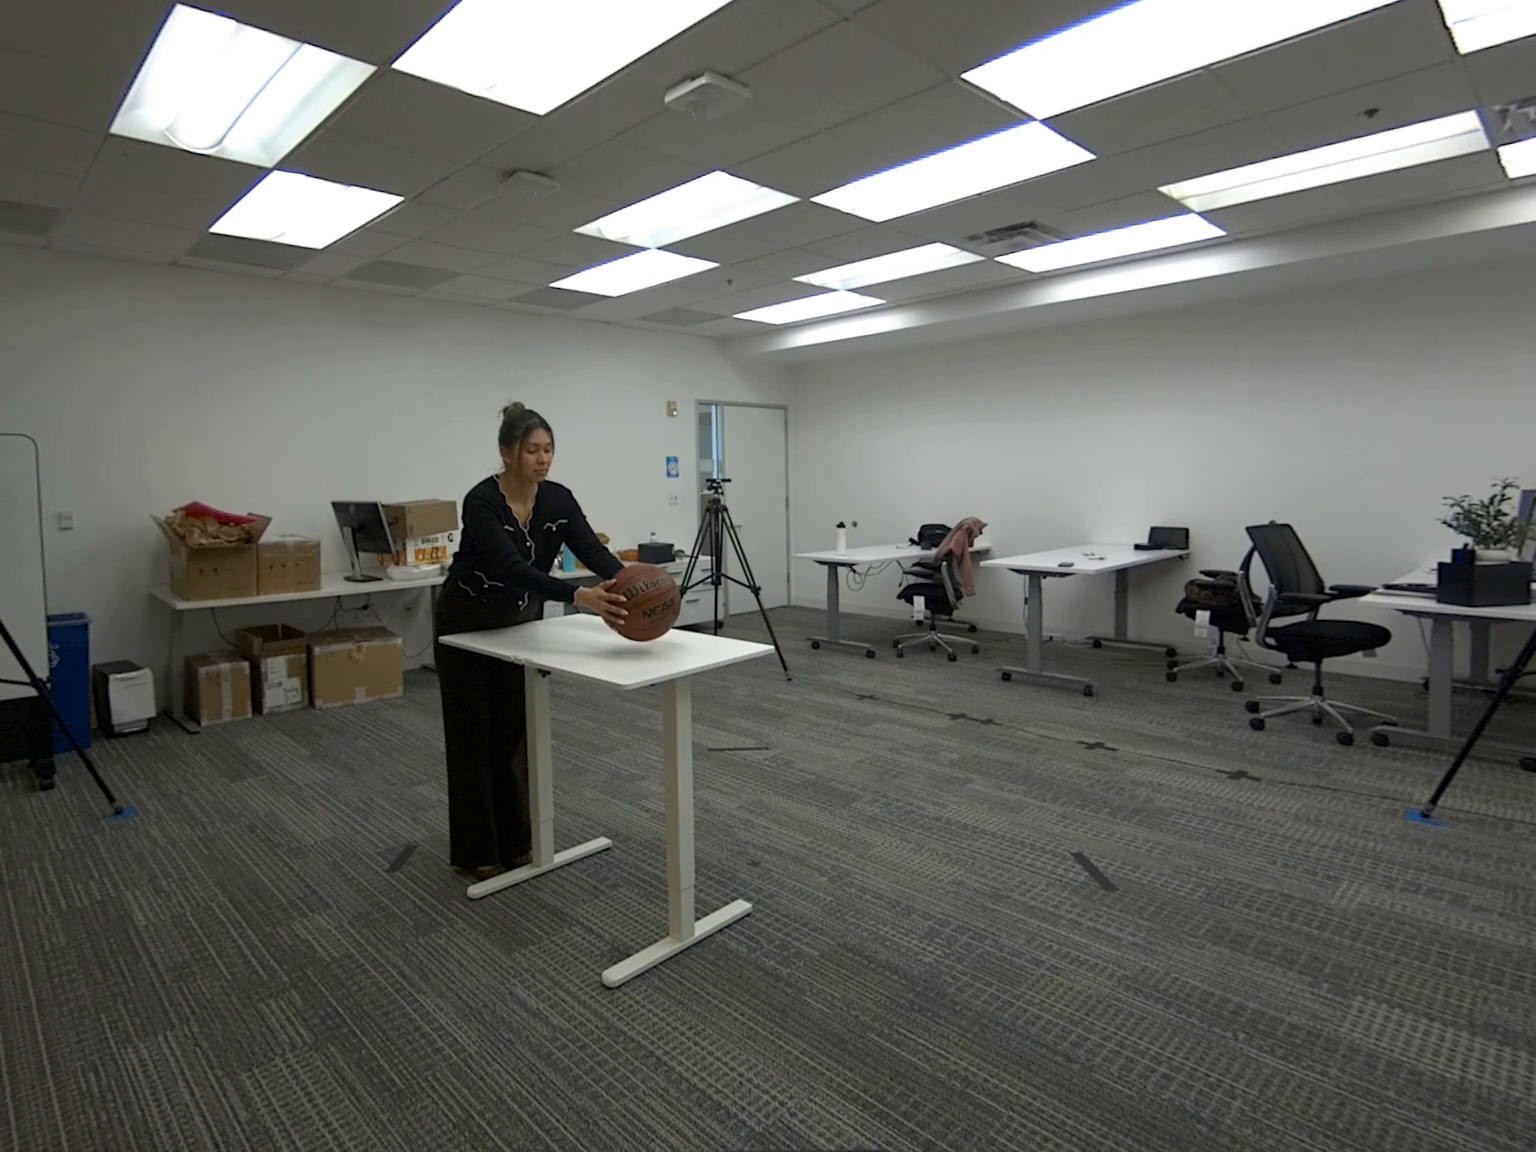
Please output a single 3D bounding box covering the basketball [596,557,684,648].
[{"bbox_3d":[-0.383,0.073,2.590,0.236,0.235,0.237,-1,5,-2],"label":"basketball"}]
